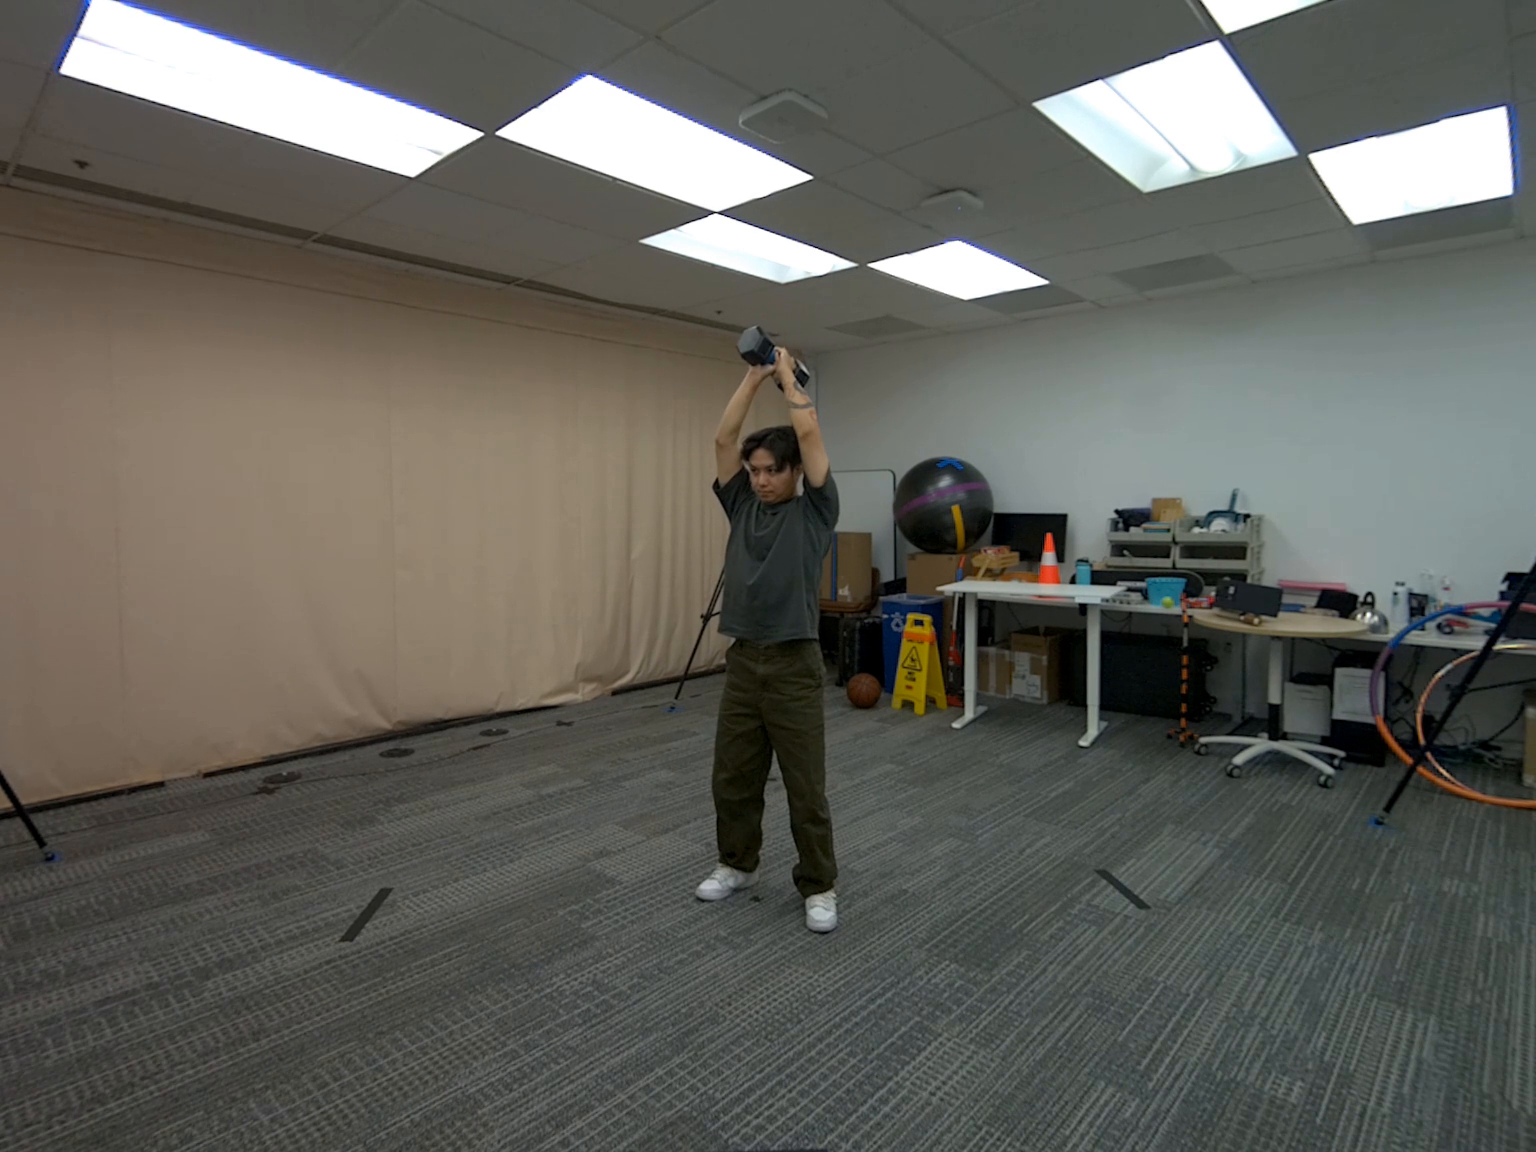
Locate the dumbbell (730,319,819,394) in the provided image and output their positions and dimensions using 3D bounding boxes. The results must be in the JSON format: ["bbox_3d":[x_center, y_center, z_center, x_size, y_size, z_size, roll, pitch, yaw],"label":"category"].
[{"bbox_3d":[0.024,-0.734,2.886,0.113,0.123,0.283,34,4,42],"label":"dumbbell"}]
